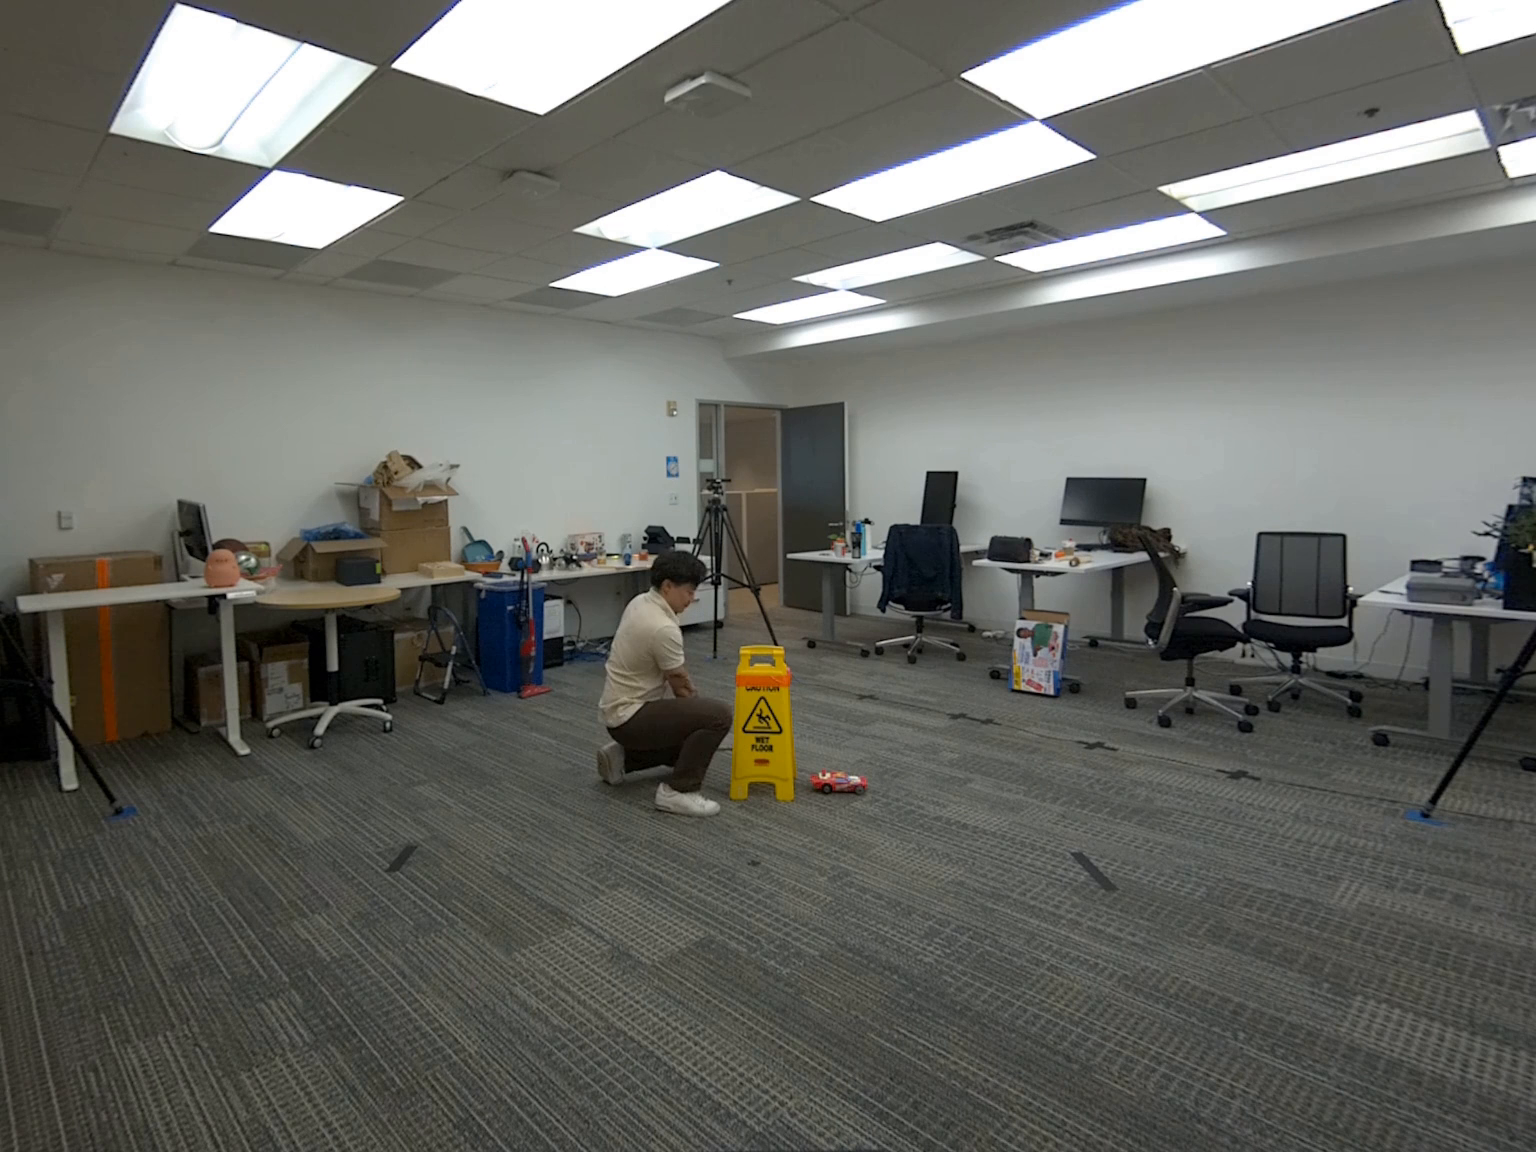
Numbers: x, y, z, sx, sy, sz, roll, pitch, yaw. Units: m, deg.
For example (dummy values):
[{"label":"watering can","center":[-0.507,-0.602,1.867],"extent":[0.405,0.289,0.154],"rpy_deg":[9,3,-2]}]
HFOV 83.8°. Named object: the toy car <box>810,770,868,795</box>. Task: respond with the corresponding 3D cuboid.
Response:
[{"label":"toy car","center":[0.305,0.919,3.815],"extent":[0.256,0.083,0.130],"rpy_deg":[10,7,4]}]
